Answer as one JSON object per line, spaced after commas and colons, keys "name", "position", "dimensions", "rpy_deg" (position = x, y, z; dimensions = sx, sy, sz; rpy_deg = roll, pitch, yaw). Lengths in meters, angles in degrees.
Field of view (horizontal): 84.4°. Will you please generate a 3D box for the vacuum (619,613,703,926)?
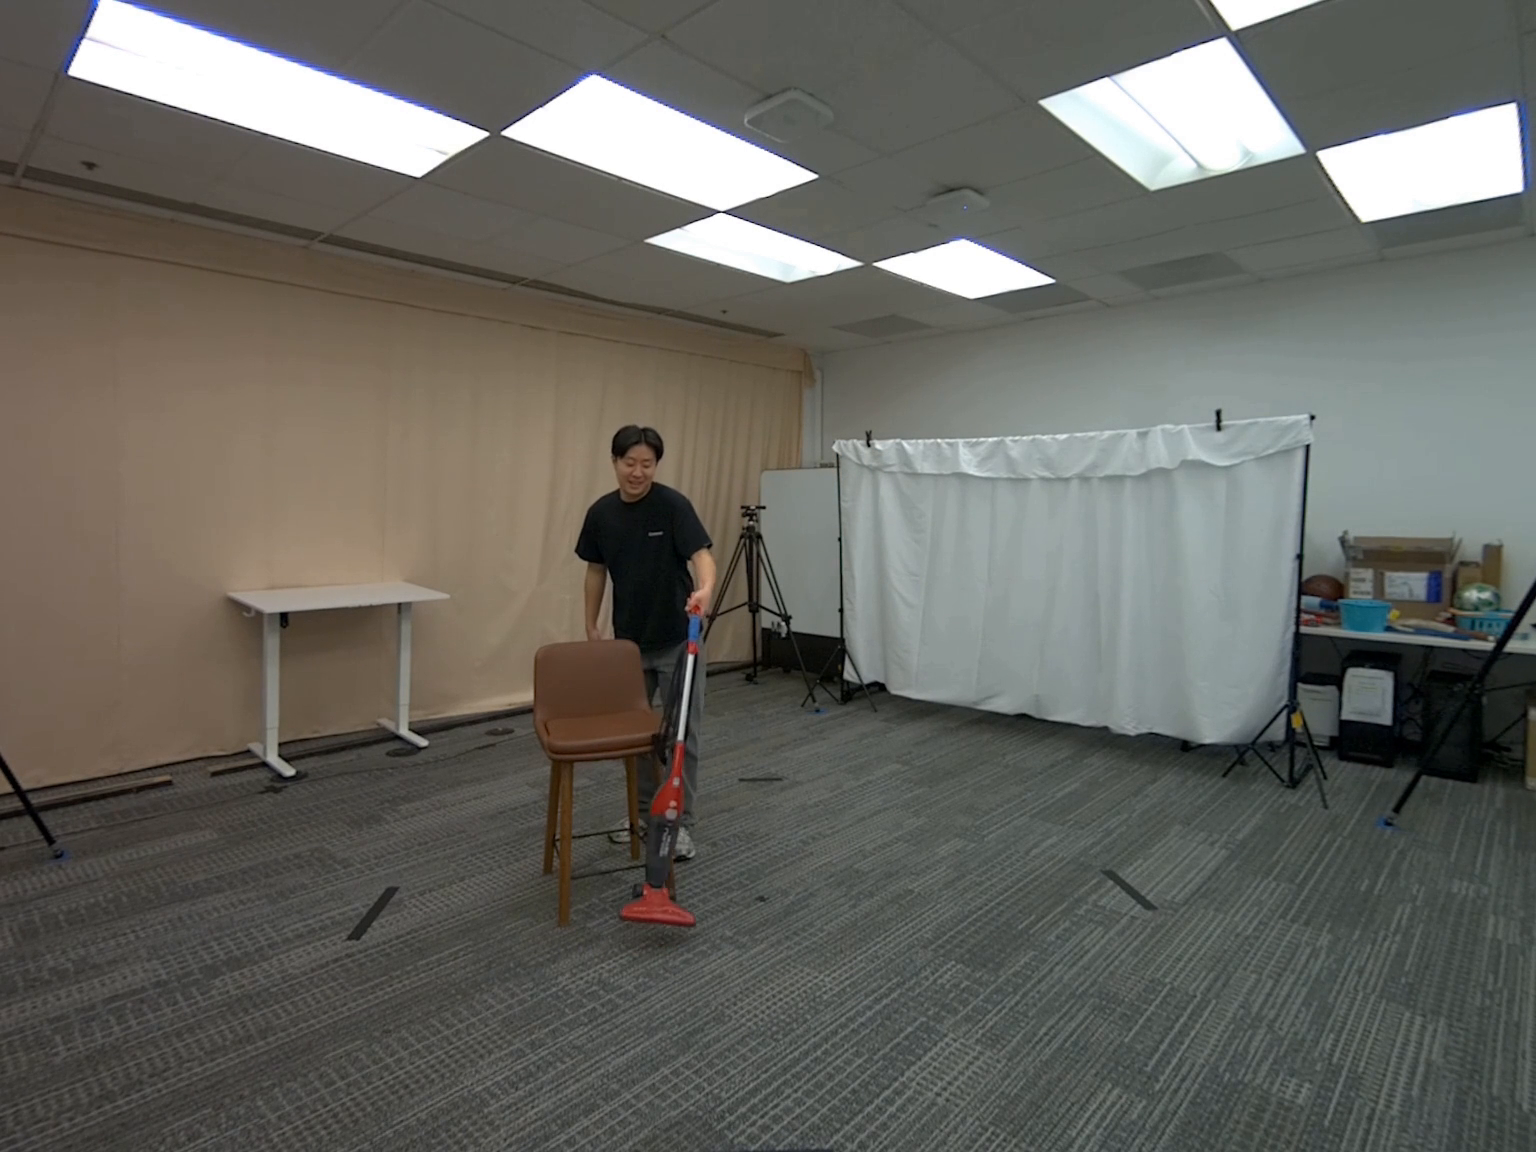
{"name": "vacuum", "position": [-0.298, 0.567, 2.857], "dimensions": [0.247, 1.059, 0.146], "rpy_deg": [12, -19, -22]}
